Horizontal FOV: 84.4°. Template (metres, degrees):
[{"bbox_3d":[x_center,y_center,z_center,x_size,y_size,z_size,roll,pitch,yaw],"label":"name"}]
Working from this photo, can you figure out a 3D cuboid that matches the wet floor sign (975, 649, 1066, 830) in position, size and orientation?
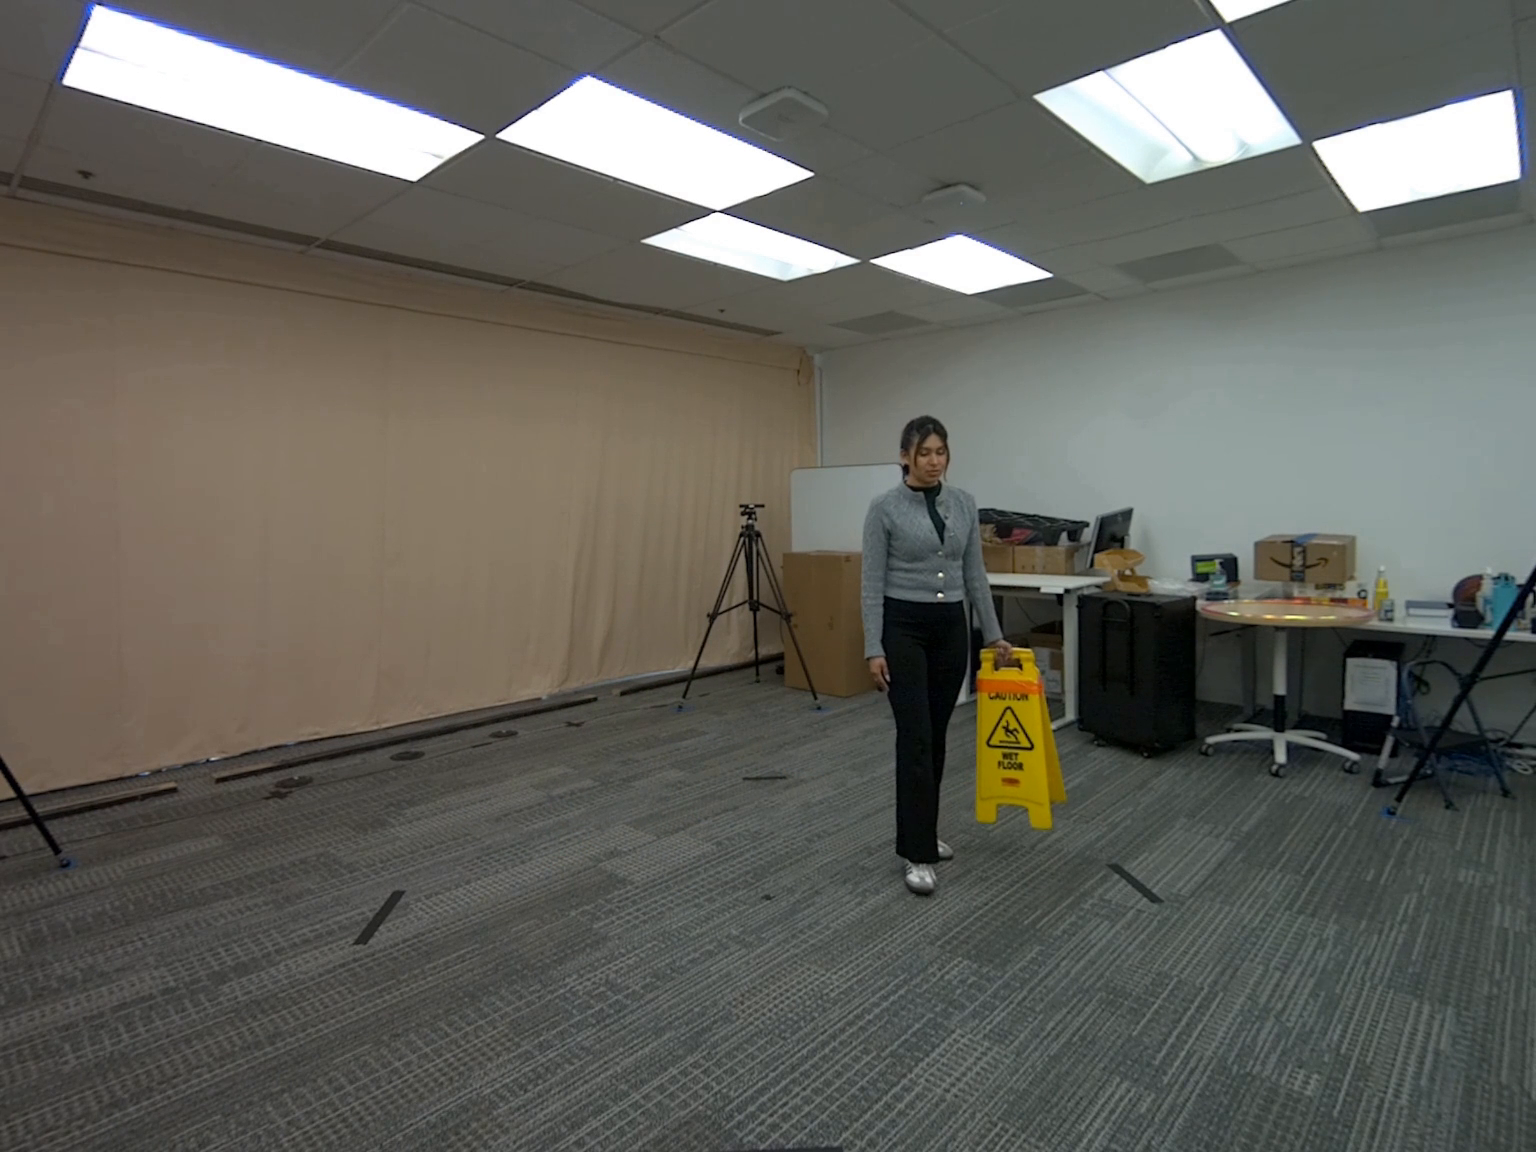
[{"bbox_3d":[0.965,0.606,3.277,0.290,0.644,0.283,-5,4,31],"label":"wet floor sign"}]
